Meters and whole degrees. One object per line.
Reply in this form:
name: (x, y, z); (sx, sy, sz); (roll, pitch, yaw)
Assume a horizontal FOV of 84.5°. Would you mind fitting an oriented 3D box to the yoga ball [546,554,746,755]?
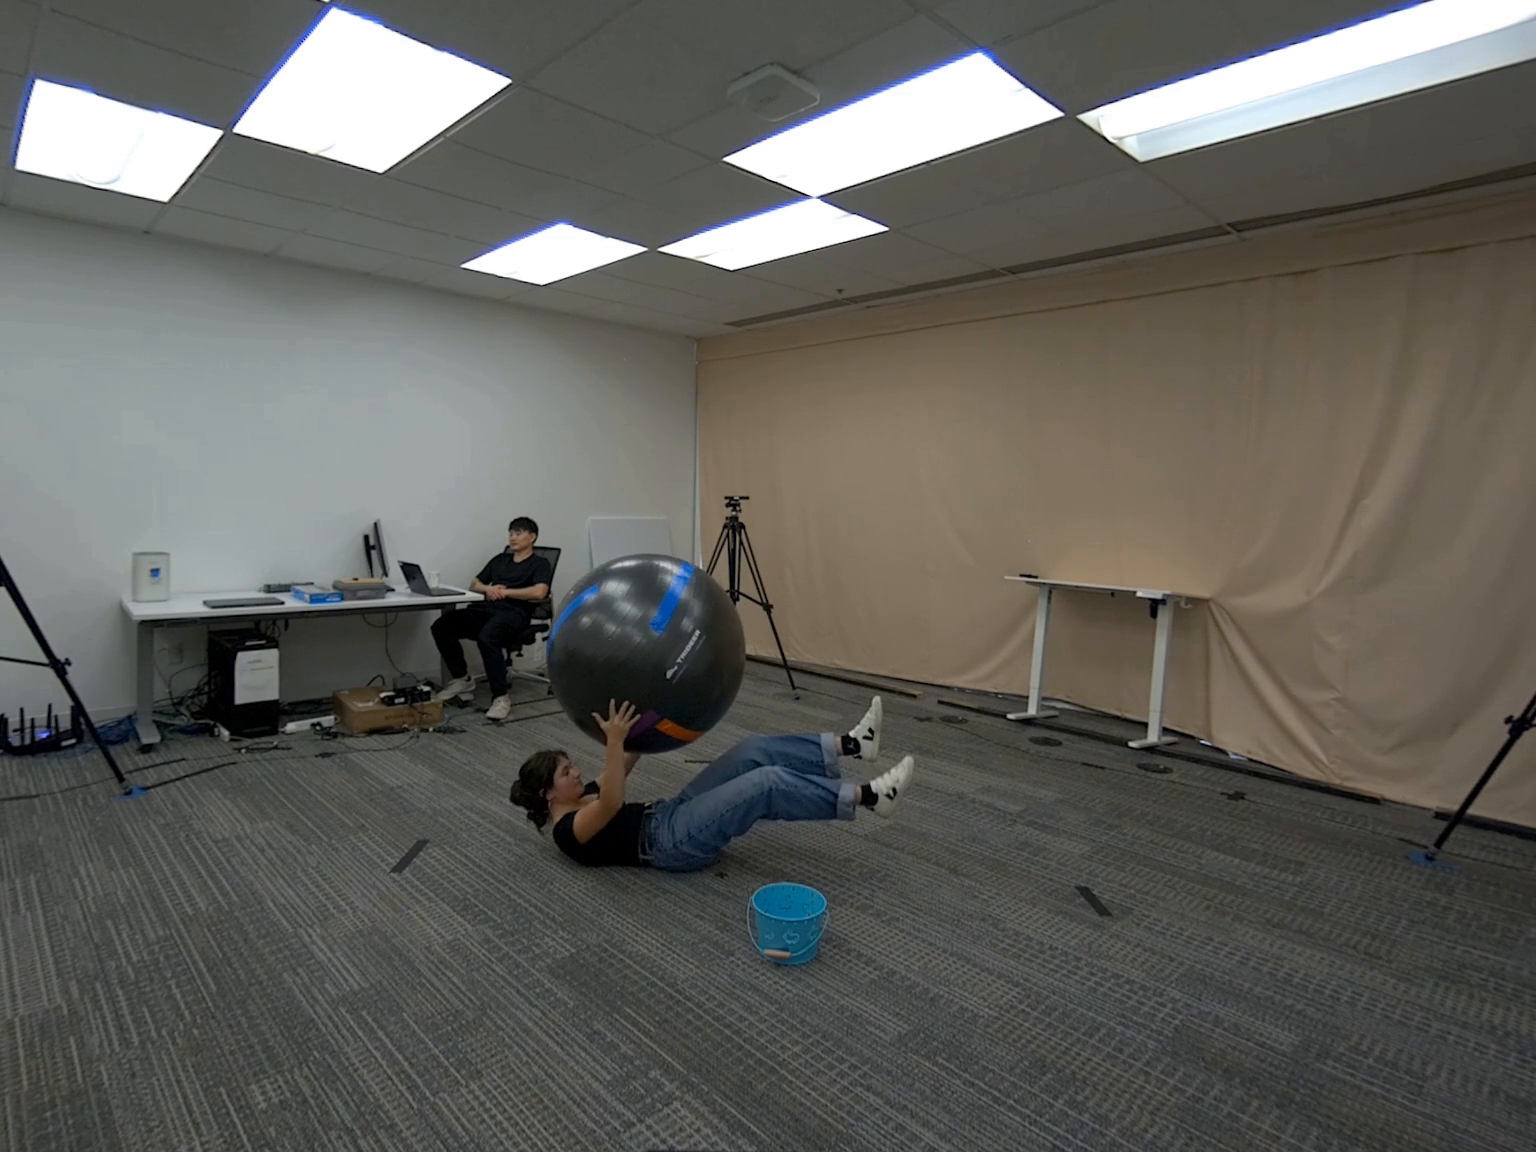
yoga ball: (-0.463, 0.299, 3.212); (0.757, 0.756, 0.761); (1, 4, -1)
